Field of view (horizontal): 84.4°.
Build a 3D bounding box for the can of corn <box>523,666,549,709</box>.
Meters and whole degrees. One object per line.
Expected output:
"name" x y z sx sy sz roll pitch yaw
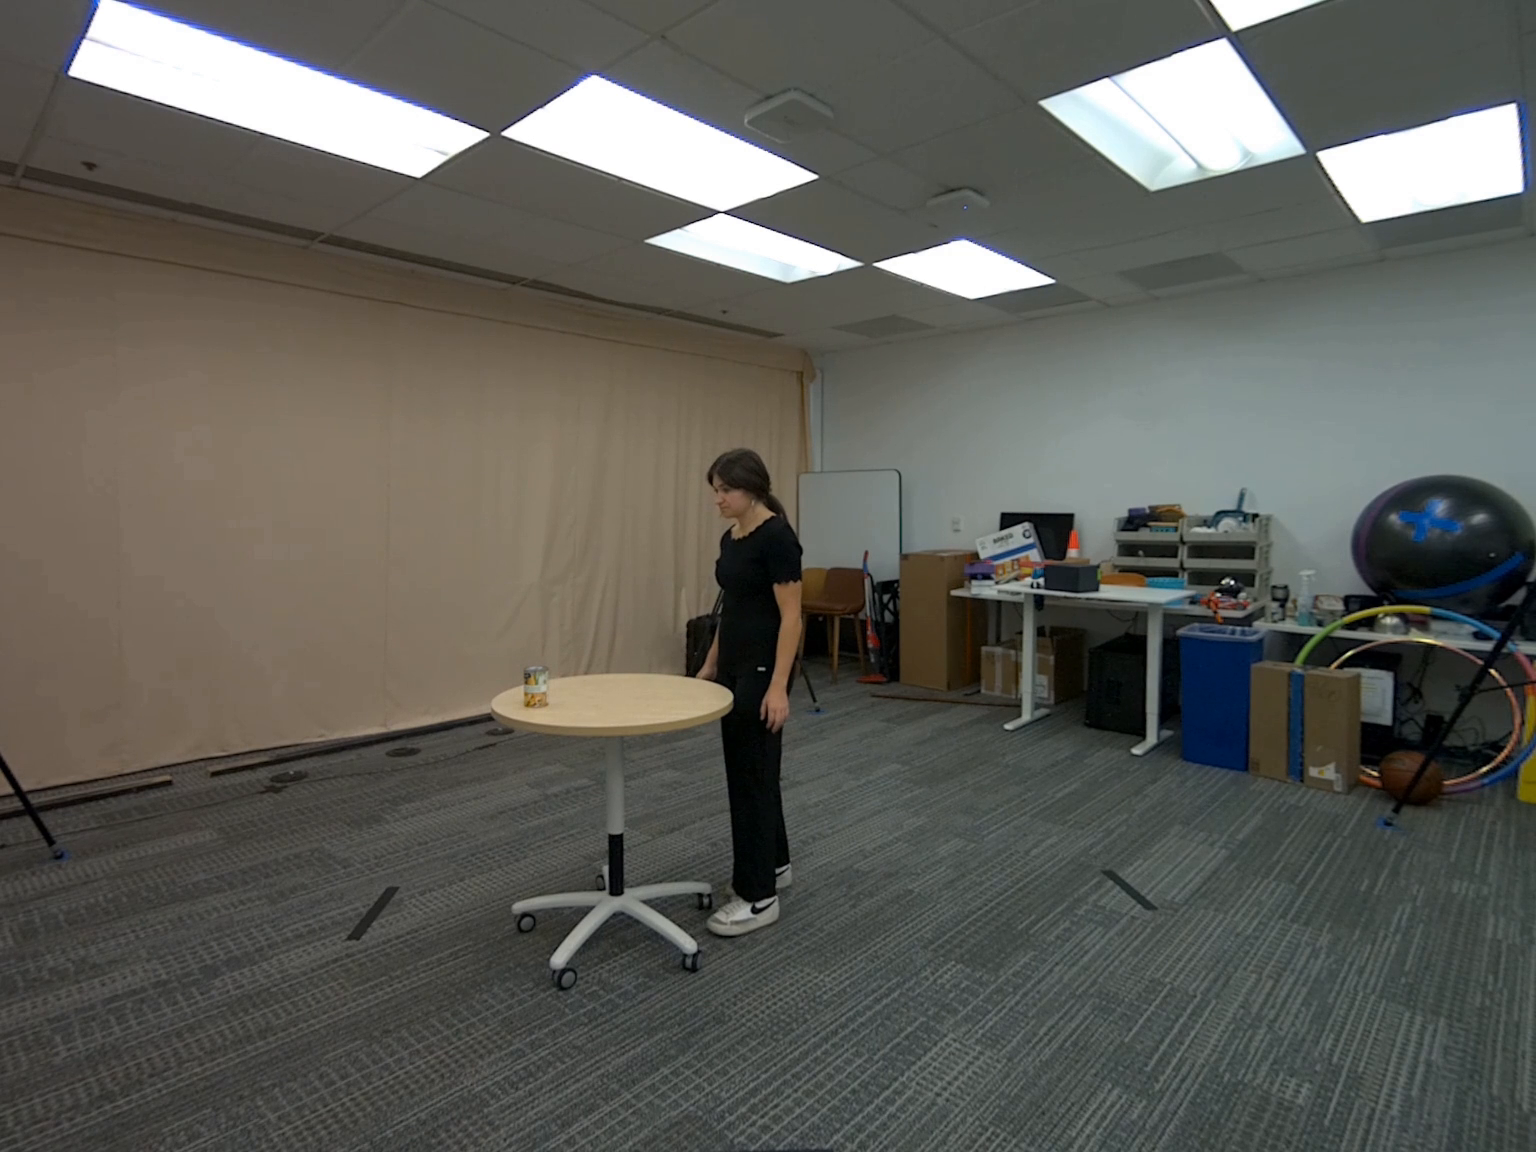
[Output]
"can of corn" -0.712 0.344 2.577 0.074 0.111 0.074 -3 4 -2
